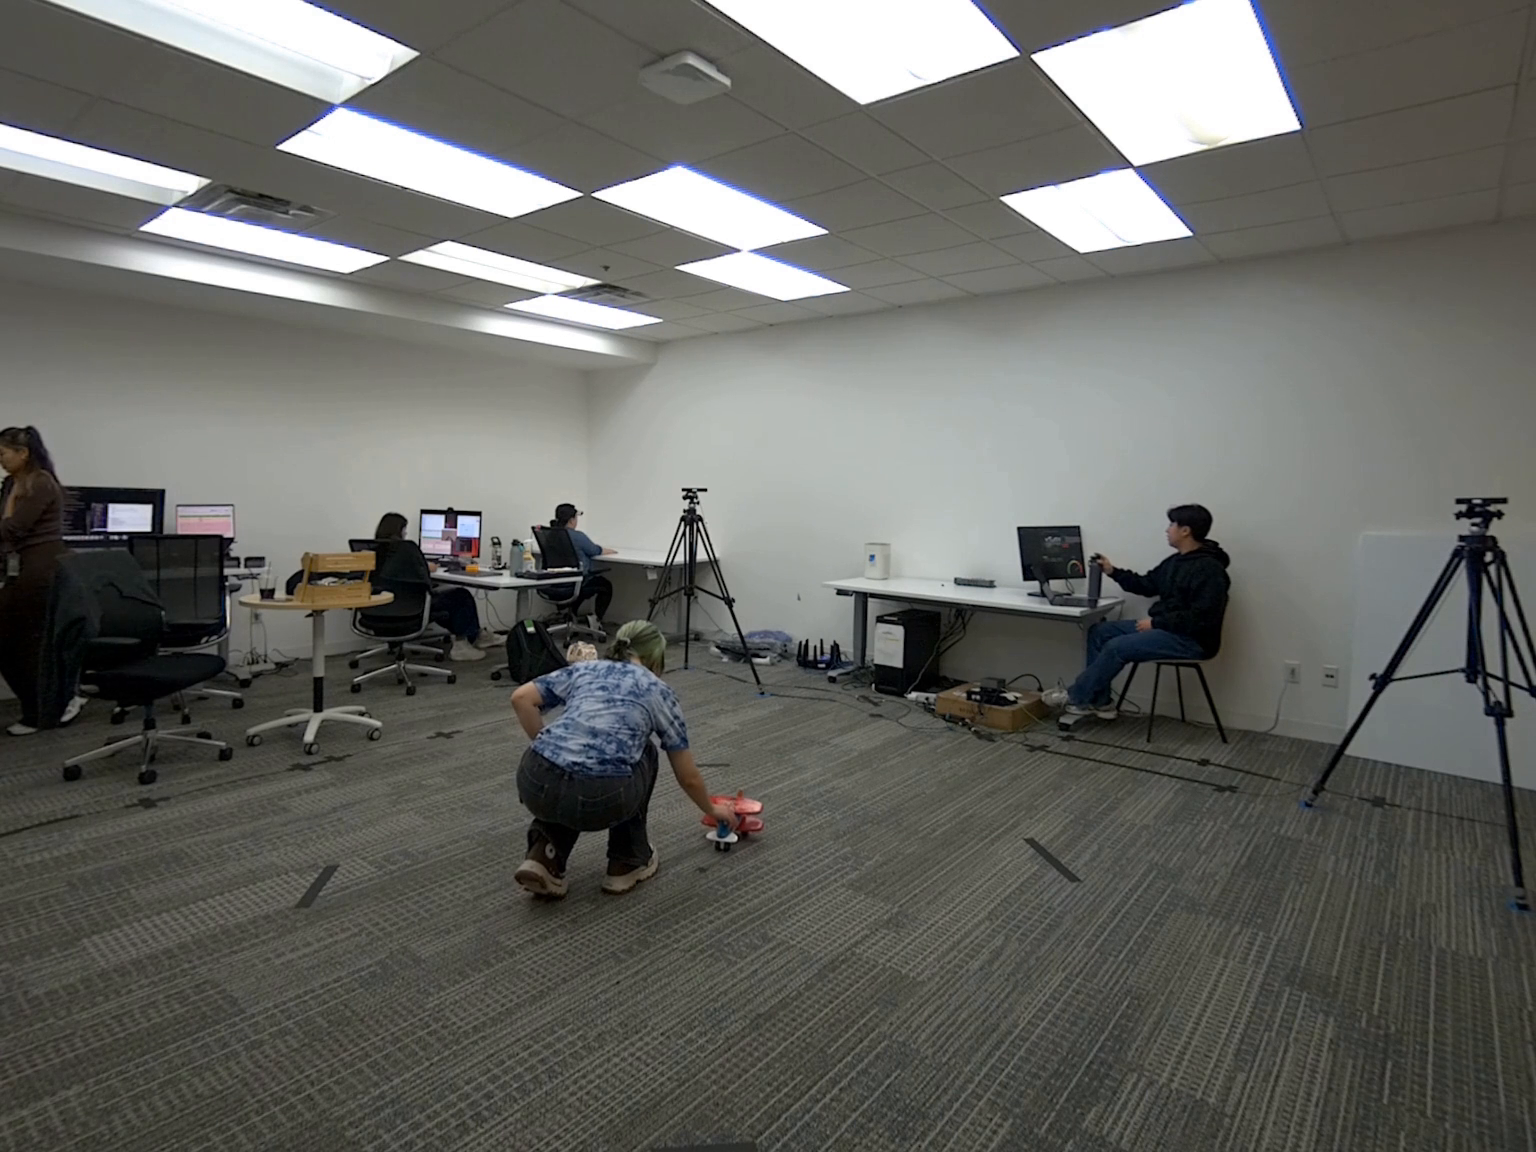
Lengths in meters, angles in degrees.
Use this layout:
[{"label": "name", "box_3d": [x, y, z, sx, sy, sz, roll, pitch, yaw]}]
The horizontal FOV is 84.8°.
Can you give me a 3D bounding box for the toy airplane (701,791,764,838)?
[{"label": "toy airplane", "box_3d": [-0.145, 0.971, 3.354, 0.247, 0.156, 0.264, 0, 4, -14]}]
